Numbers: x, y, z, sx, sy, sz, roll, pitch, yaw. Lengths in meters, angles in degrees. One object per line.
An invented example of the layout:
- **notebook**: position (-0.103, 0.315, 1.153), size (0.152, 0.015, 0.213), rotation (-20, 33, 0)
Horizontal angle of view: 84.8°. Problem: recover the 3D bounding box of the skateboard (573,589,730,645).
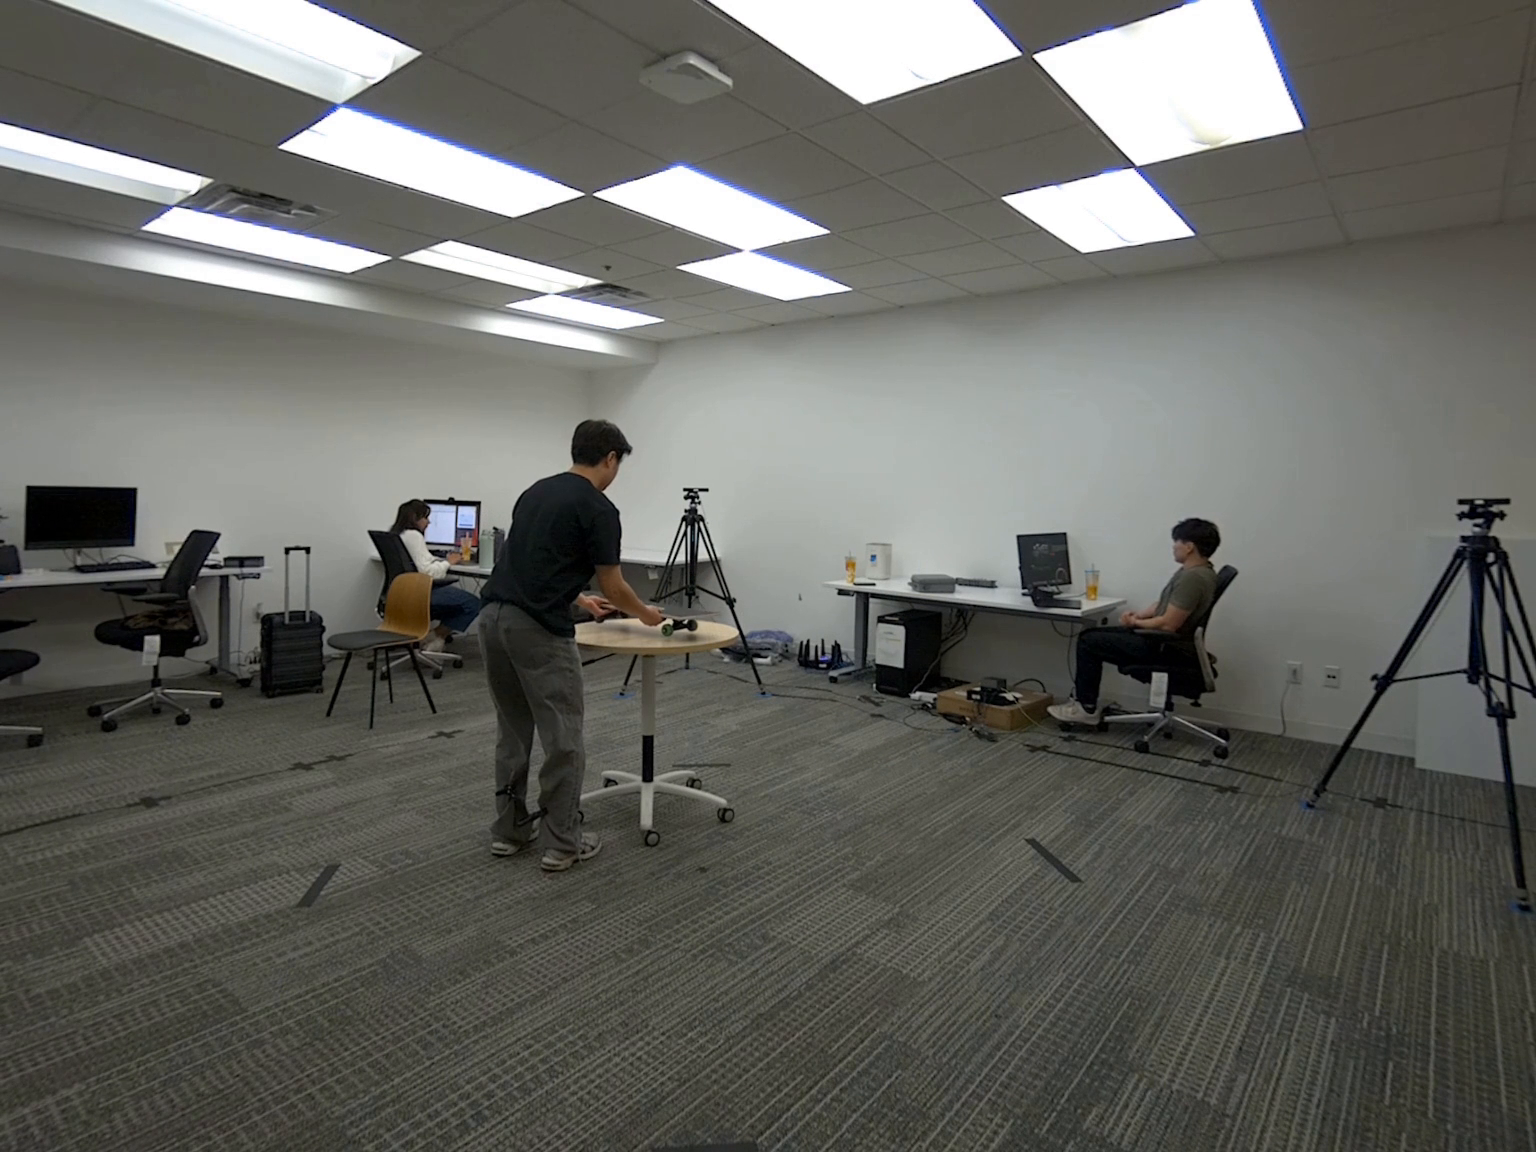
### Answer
- **skateboard**: position (-0.535, 0.163, 3.604), size (0.812, 0.110, 0.188), rotation (7, 8, 38)
